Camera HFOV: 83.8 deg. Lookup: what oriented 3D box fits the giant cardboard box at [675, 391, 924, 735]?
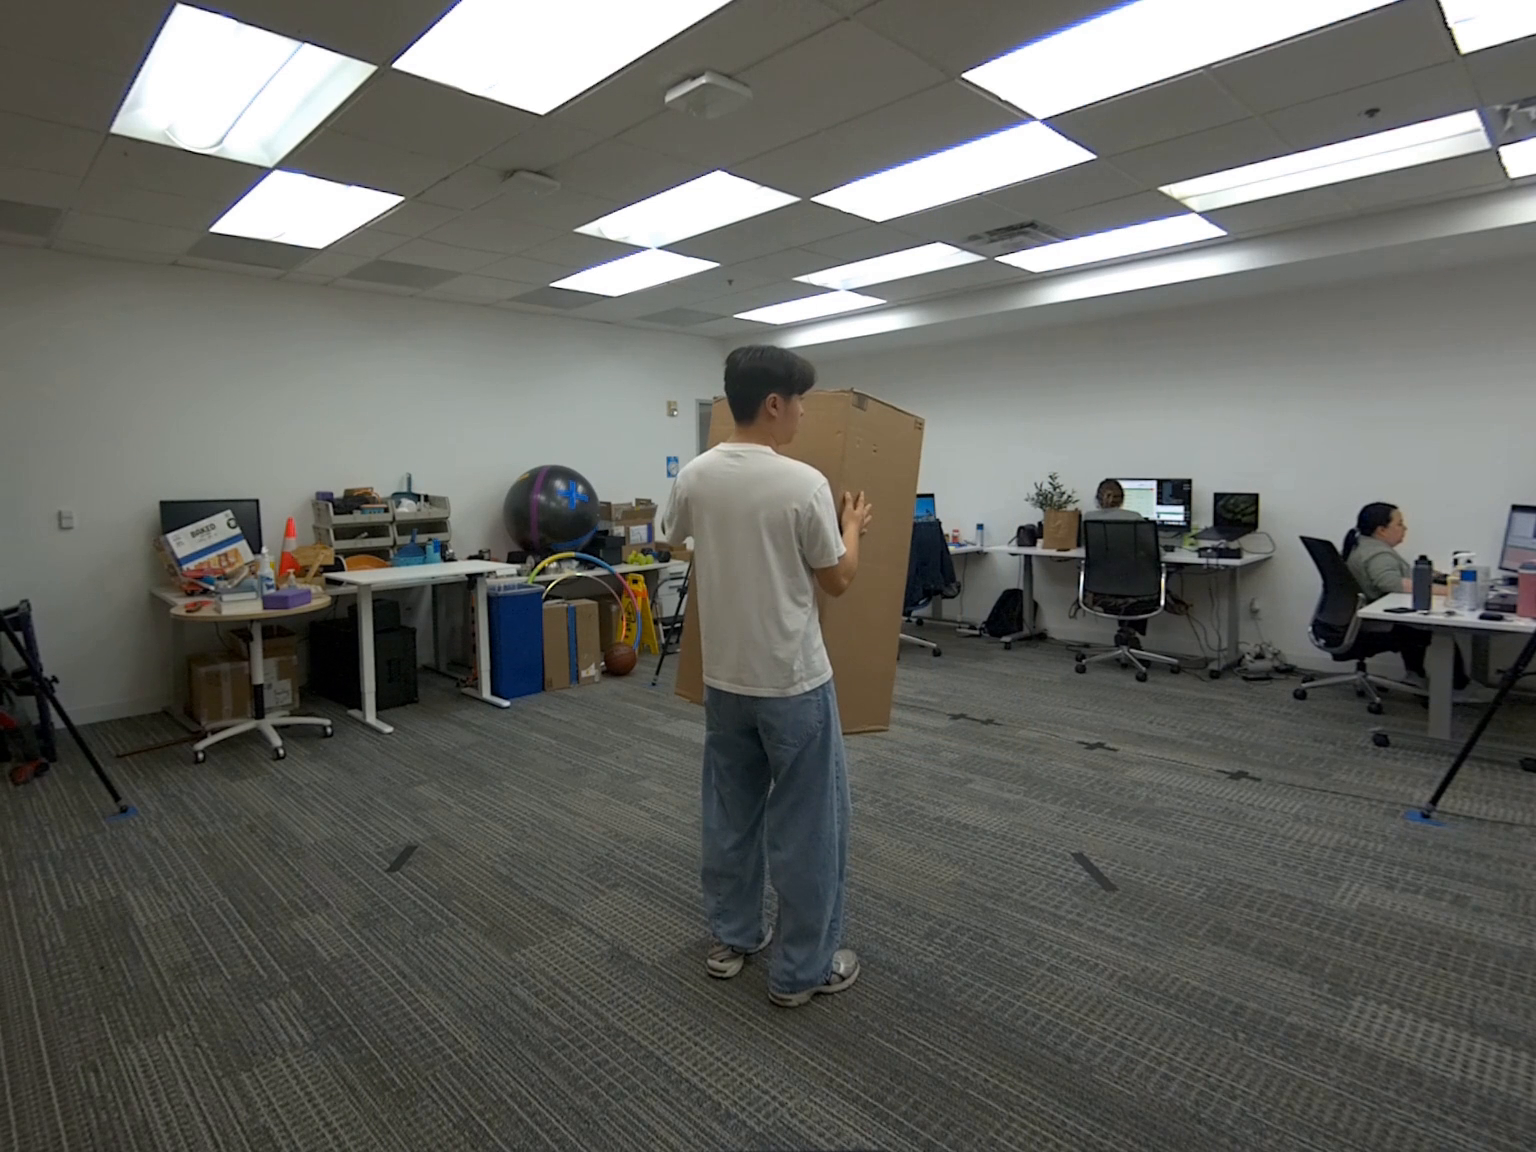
[{"bbox_3d":[0.111,-0.053,2.817,0.596,1.027,0.412,6,-2,42],"label":"giant cardboard box"}]
